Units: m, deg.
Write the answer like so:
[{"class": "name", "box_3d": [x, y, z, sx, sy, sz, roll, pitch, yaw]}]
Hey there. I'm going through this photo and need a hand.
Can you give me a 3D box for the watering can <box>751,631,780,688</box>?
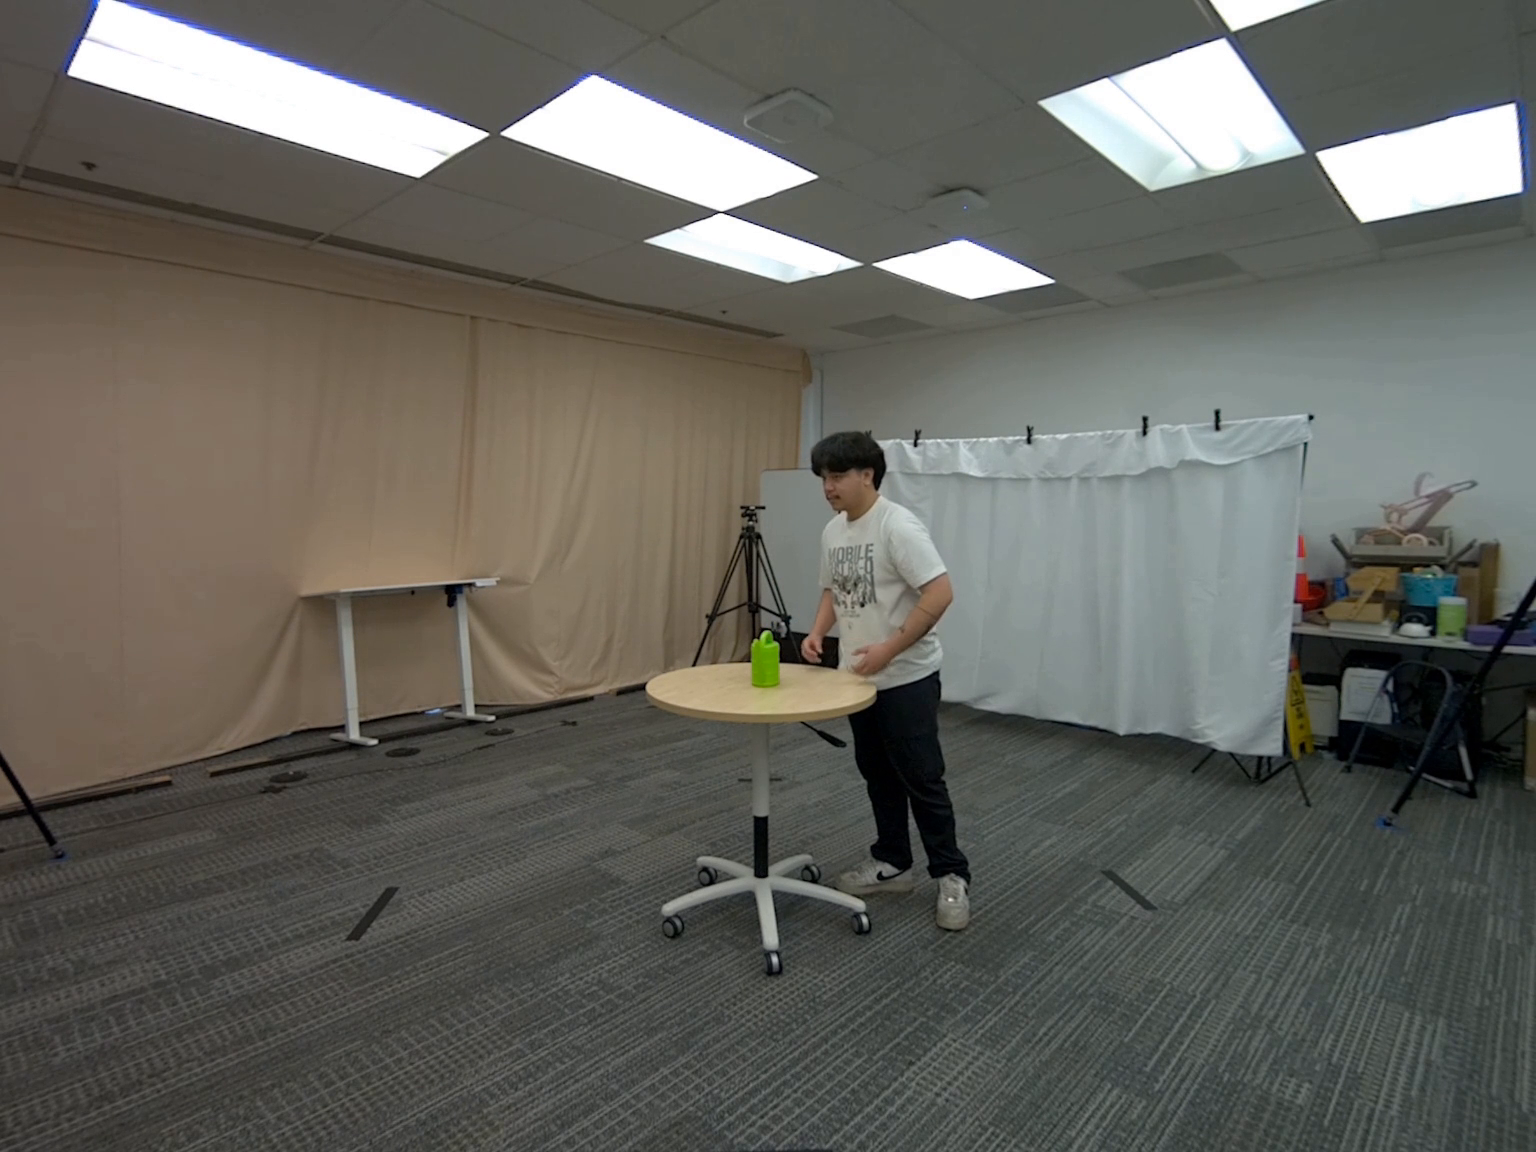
[{"class": "watering can", "box_3d": [-0.025, 0.286, 2.804, 0.101, 0.176, 0.270, 2, 5, 34]}]
